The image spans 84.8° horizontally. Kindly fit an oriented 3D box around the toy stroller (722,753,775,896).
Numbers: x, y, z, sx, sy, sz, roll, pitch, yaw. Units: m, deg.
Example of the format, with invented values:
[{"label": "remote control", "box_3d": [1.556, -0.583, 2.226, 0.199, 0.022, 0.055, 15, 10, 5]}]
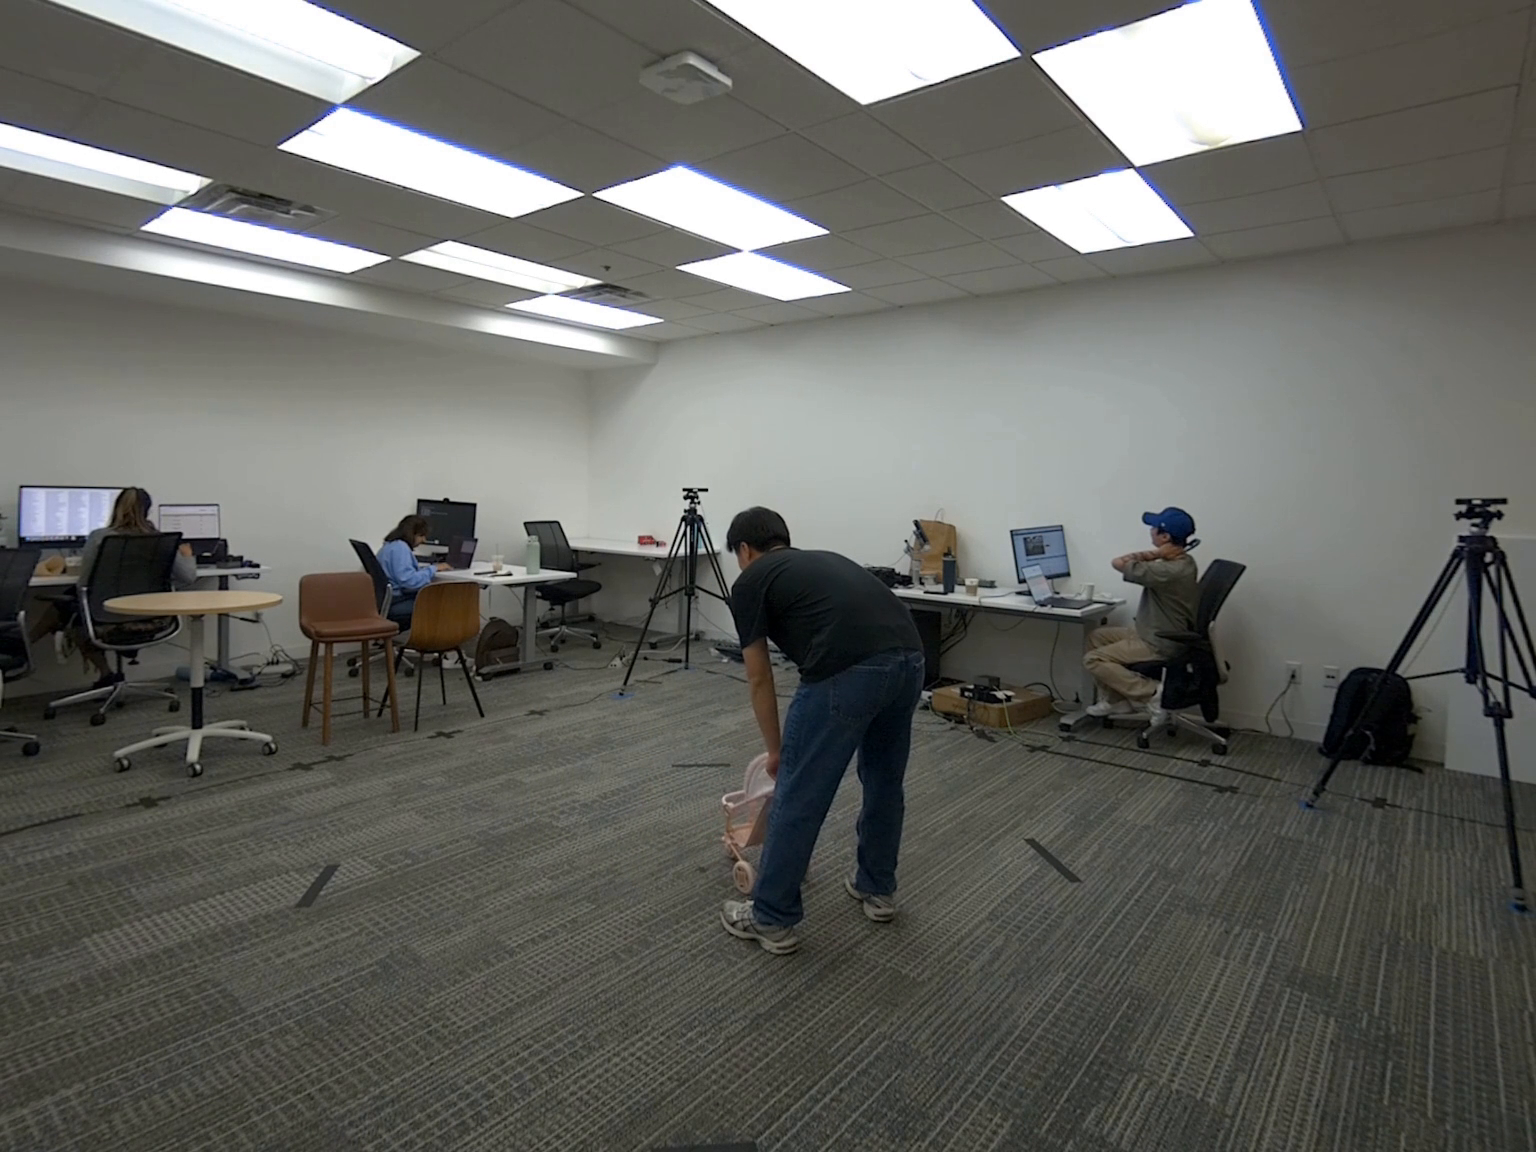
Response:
[{"label": "toy stroller", "box_3d": [-0.025, 0.857, 3.044, 0.273, 0.528, 0.355, 0, 21, -32]}]
